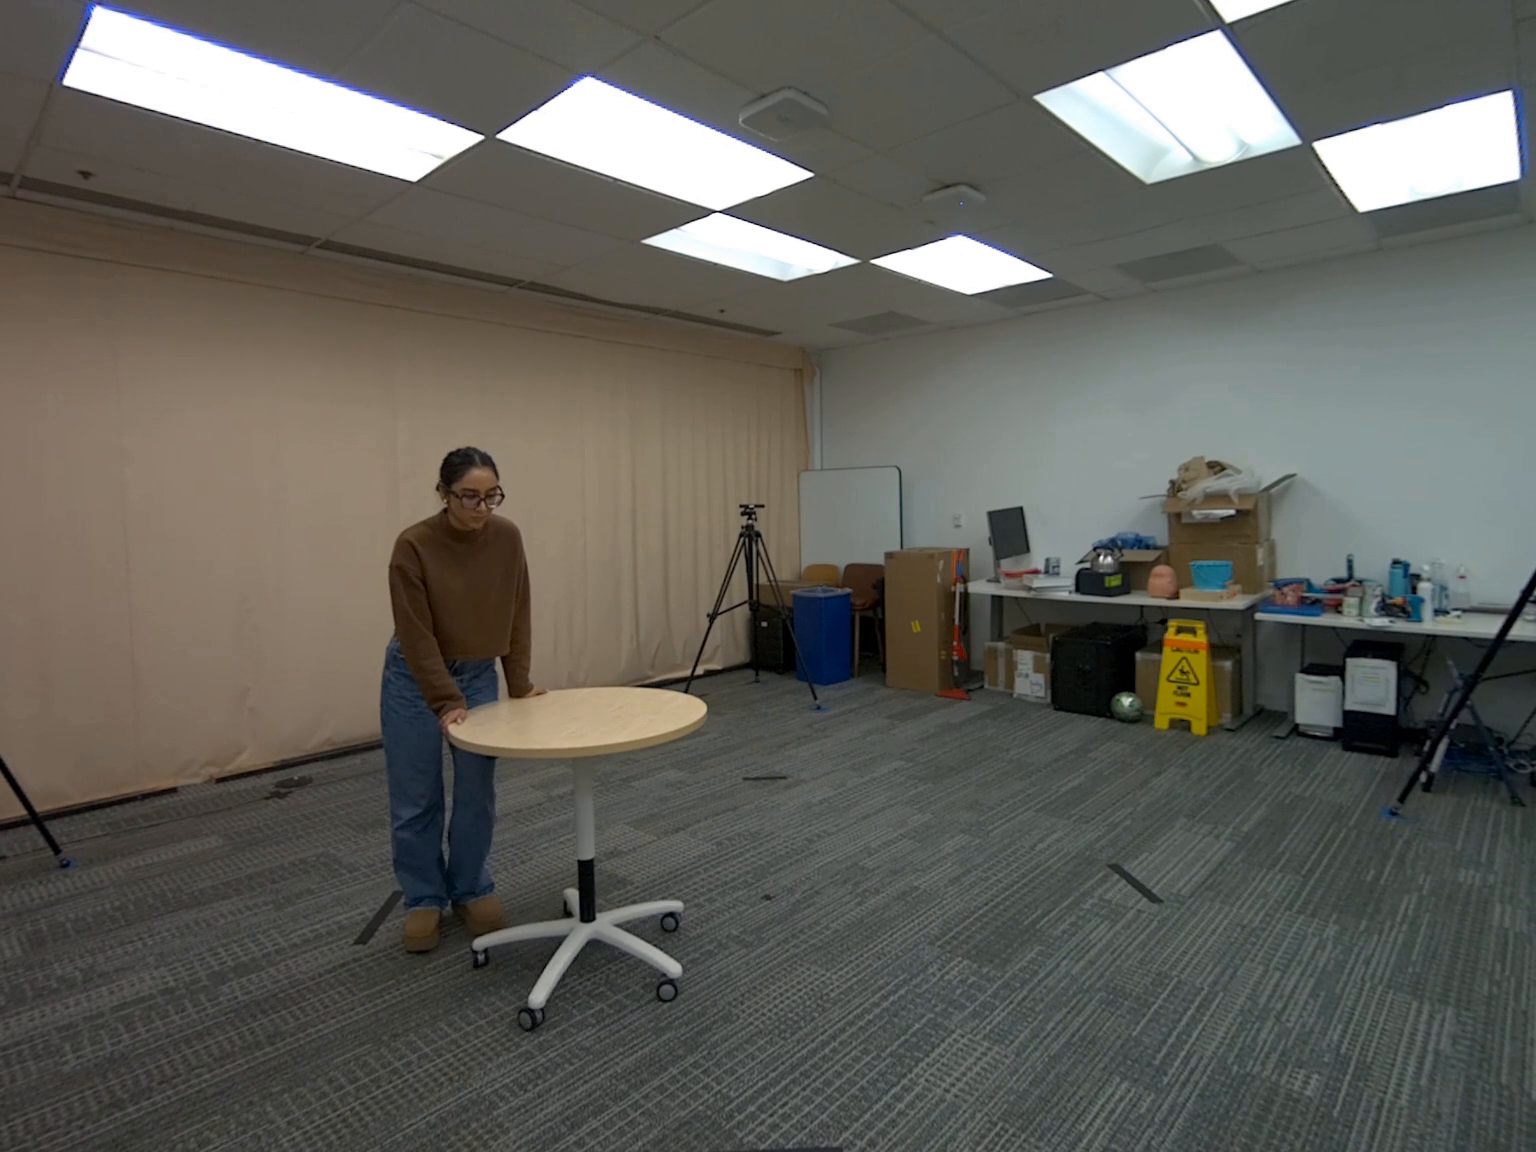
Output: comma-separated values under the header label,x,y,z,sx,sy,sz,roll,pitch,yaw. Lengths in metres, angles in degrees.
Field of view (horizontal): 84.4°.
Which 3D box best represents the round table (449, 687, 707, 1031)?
label,x,y,z,sx,sy,sz,roll,pitch,yaw
round table,-0.557,0.806,2.548,0.763,0.792,0.766,-2,3,-2
